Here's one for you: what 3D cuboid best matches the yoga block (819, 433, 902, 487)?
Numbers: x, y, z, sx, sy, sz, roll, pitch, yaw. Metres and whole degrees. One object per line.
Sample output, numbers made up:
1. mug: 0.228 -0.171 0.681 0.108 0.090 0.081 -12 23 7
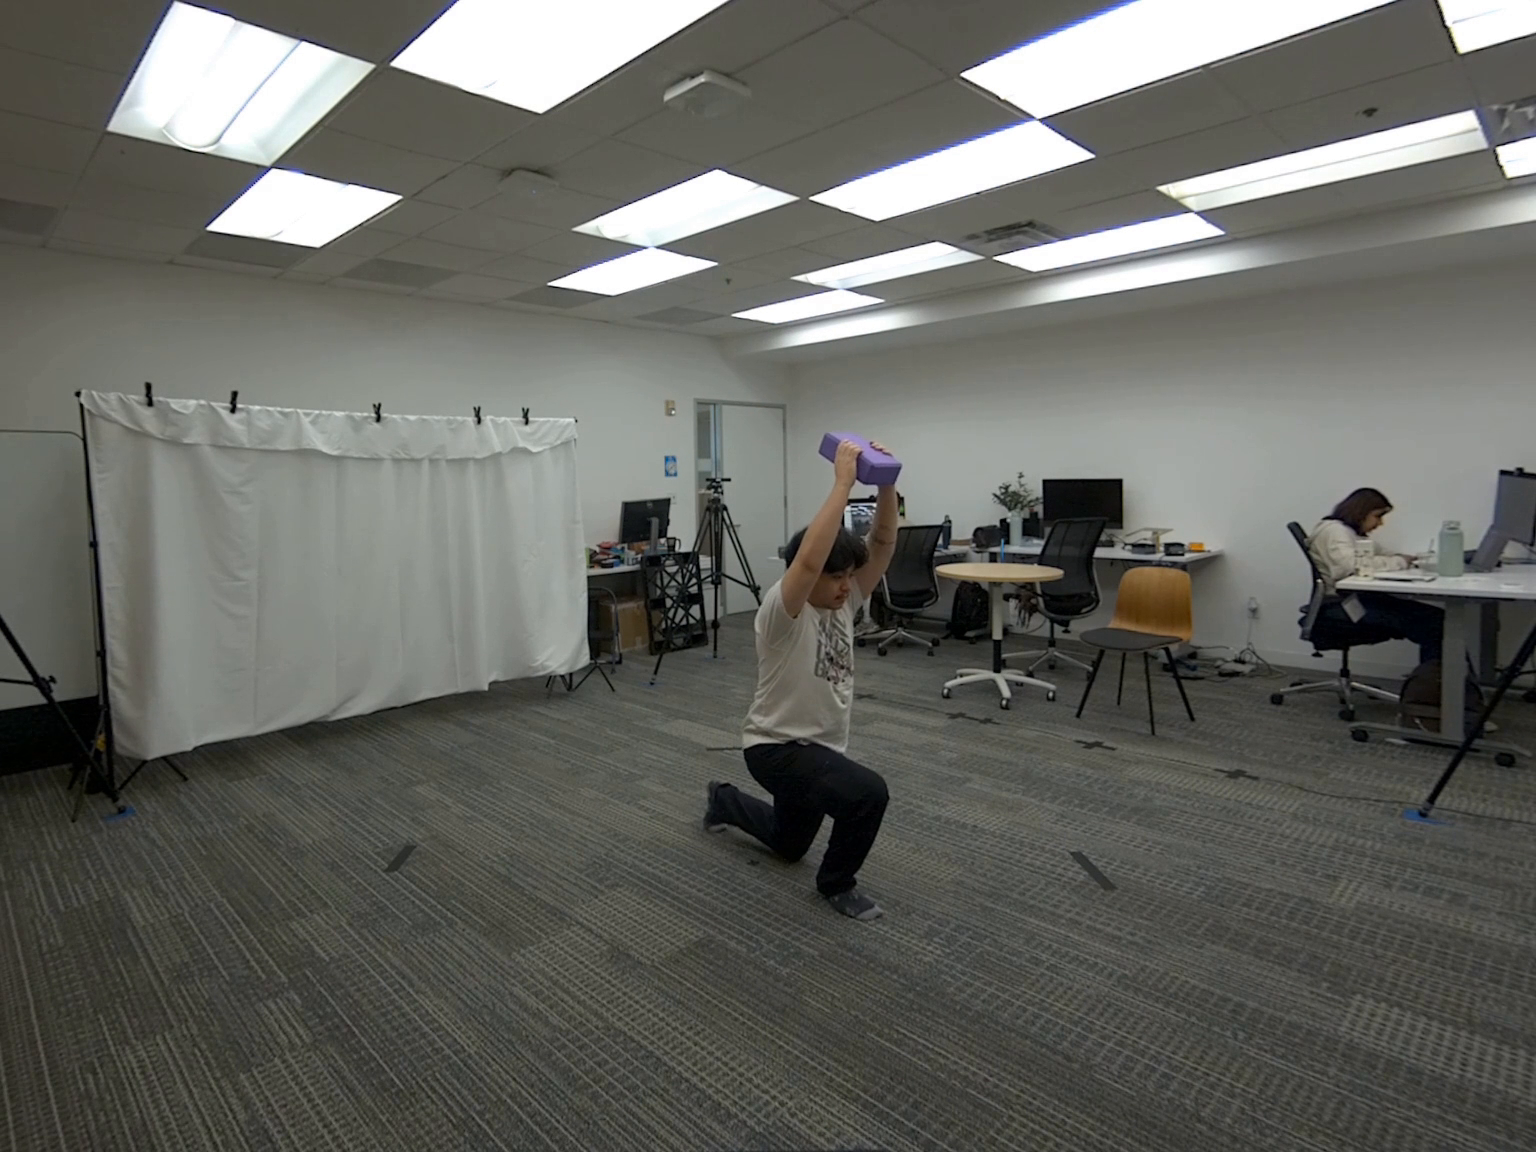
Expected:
1. yoga block: 0.288 -0.373 2.677 0.145 0.075 0.238 -6 35 -41
